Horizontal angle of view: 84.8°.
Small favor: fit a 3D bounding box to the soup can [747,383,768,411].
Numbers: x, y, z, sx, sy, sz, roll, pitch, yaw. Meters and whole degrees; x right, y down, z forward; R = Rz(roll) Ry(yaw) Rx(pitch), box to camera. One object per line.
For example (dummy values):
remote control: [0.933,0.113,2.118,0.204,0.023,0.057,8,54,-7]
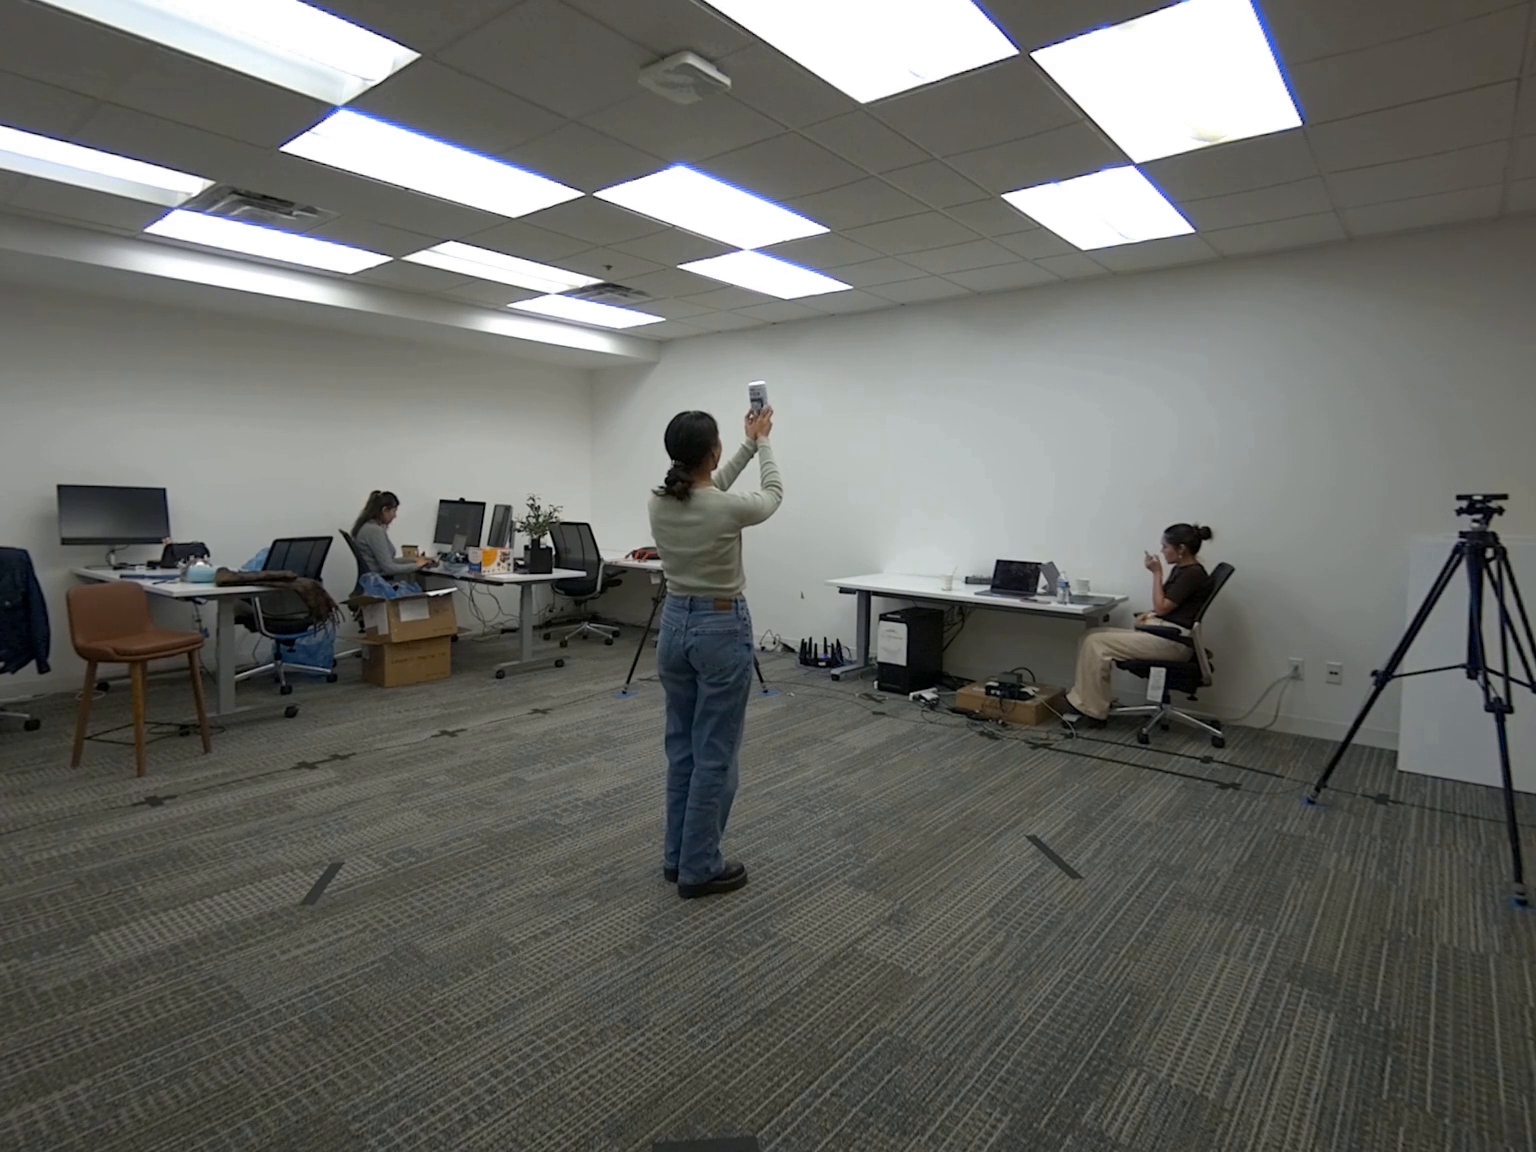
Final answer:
soup can: [-0.040,-0.666,3.189,0.067,0.119,0.068,-4,16,-1]
